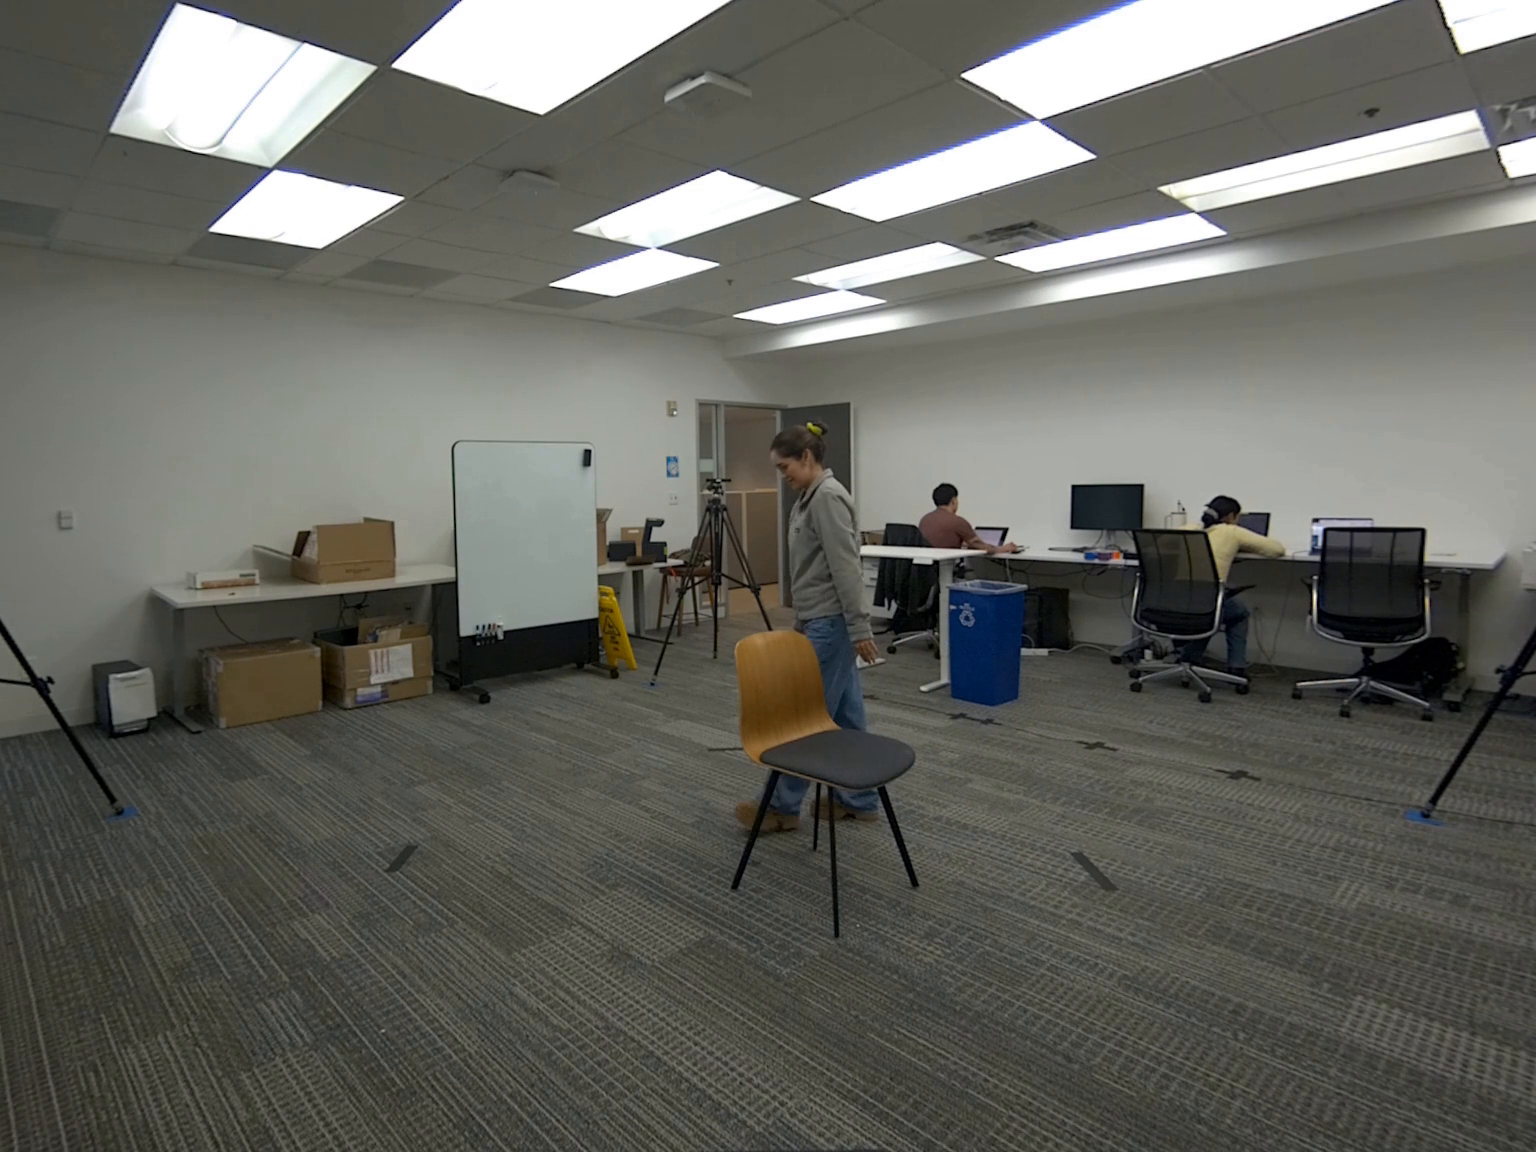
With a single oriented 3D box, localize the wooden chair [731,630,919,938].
[{"bbox_3d":[0.189,0.641,2.868,0.537,0.877,0.465,-3,0,44],"label":"wooden chair"}]
